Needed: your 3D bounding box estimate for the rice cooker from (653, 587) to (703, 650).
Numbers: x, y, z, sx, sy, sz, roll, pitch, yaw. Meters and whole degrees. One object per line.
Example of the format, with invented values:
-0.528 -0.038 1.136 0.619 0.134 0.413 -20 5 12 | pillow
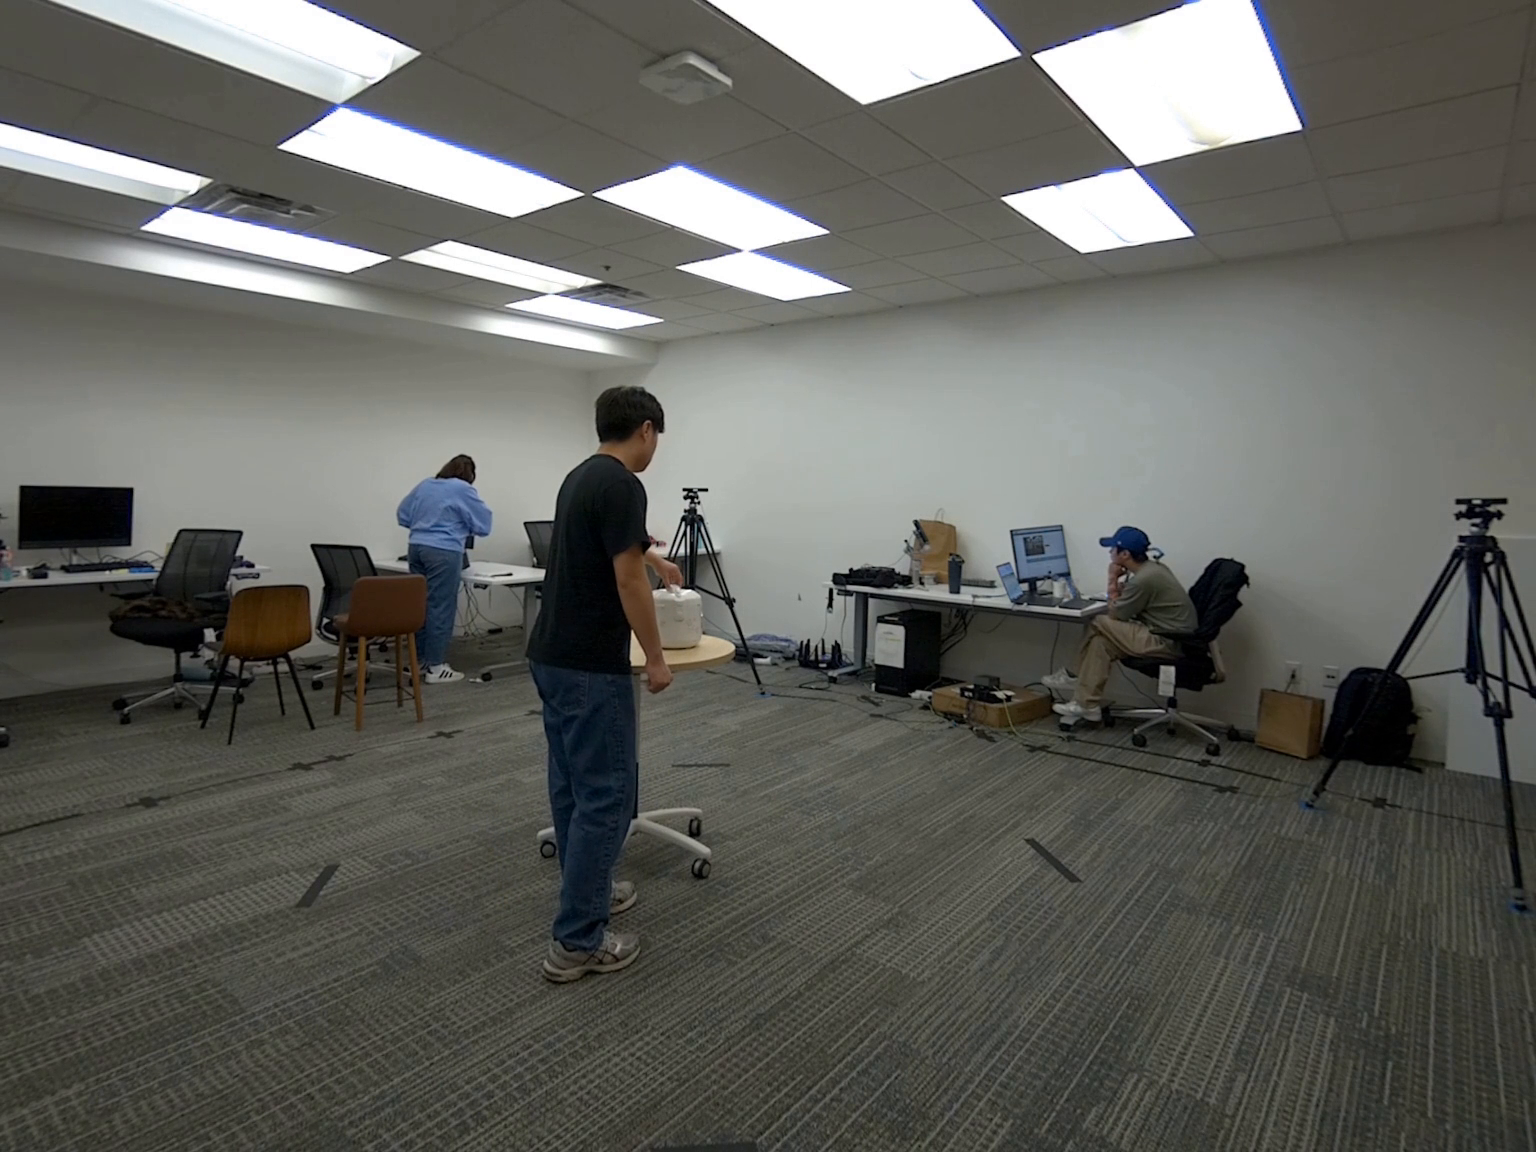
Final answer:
-0.362 0.143 3.213 0.214 0.232 0.225 0 4 -17 | rice cooker
